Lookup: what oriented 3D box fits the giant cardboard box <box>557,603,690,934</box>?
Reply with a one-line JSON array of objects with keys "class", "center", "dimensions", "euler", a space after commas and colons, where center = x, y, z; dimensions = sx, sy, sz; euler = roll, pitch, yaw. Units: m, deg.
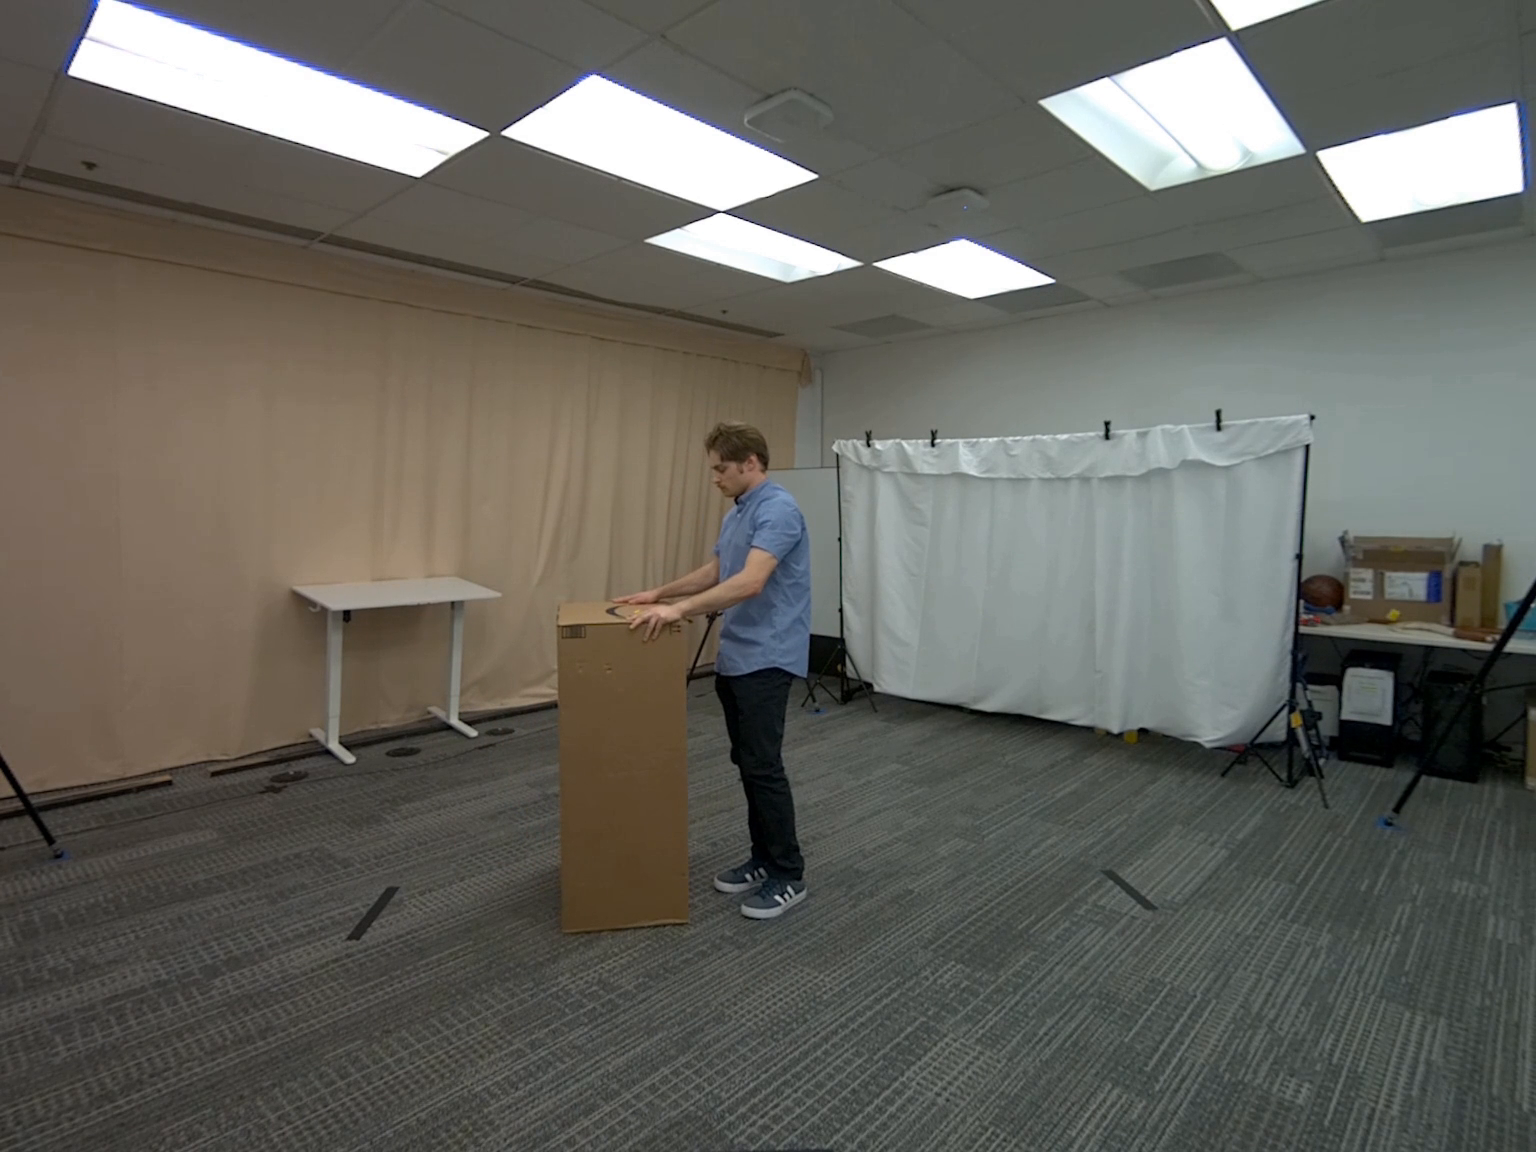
[{"class": "giant cardboard box", "center": [-0.534, 0.633, 3.037], "dimensions": [0.442, 1.025, 0.591], "euler": [-1, 3, -11]}]
